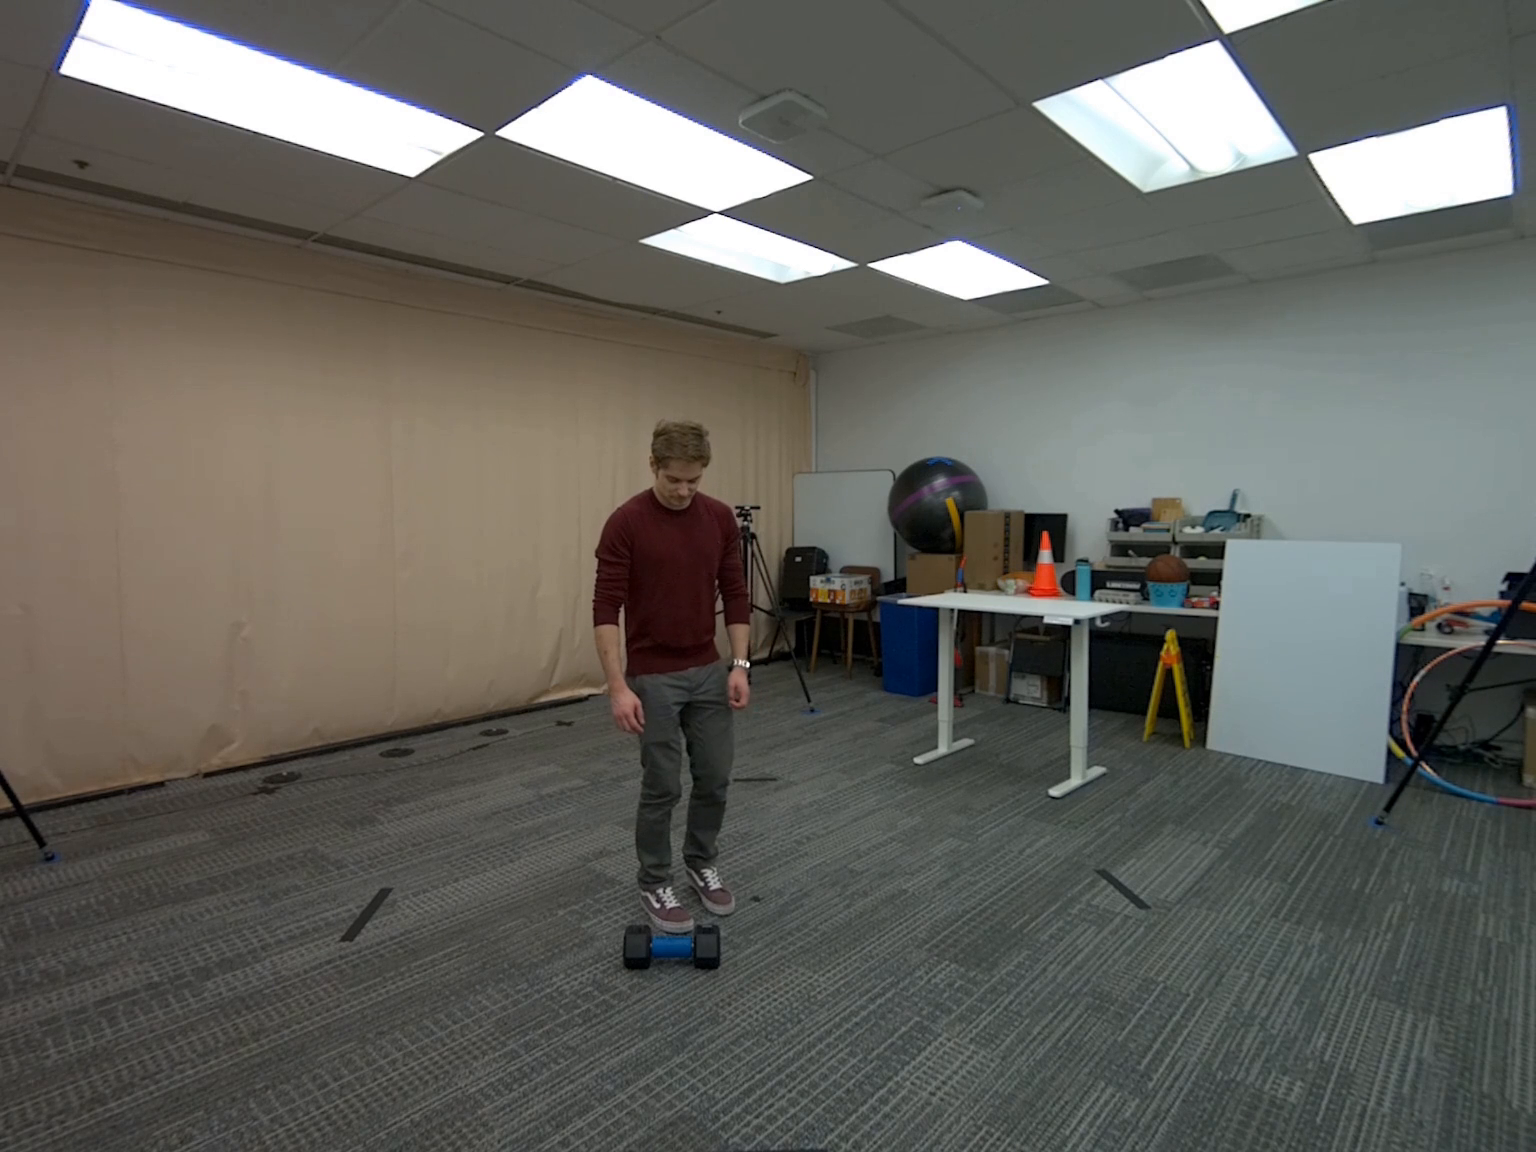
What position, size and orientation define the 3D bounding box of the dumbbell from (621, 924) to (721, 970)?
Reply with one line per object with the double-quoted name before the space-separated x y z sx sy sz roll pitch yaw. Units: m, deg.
"dumbbell" -0.287 1.125 2.560 0.293 0.125 0.107 0 -26 0
